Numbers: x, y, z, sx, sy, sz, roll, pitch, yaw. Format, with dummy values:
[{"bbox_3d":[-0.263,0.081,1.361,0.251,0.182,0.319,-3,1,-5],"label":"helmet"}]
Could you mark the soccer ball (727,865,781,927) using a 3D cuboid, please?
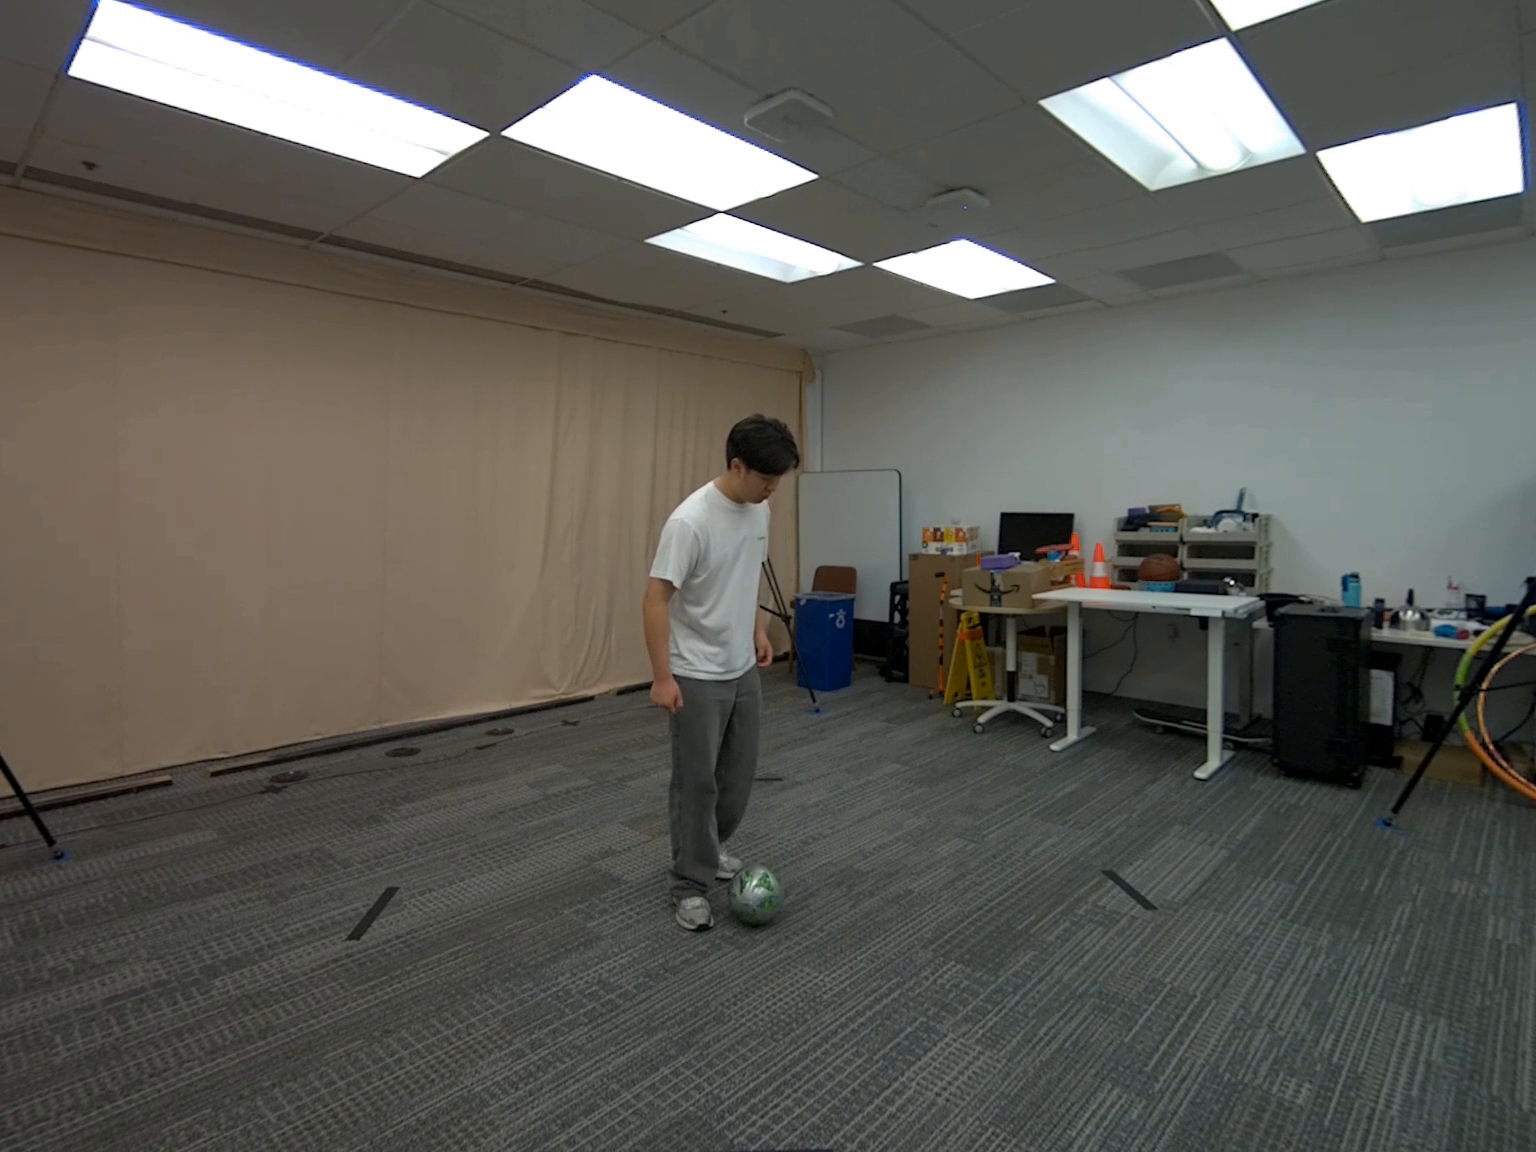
[{"bbox_3d":[-0.036,1.065,2.811,0.187,0.187,0.188,0,4,-2],"label":"soccer ball"}]
